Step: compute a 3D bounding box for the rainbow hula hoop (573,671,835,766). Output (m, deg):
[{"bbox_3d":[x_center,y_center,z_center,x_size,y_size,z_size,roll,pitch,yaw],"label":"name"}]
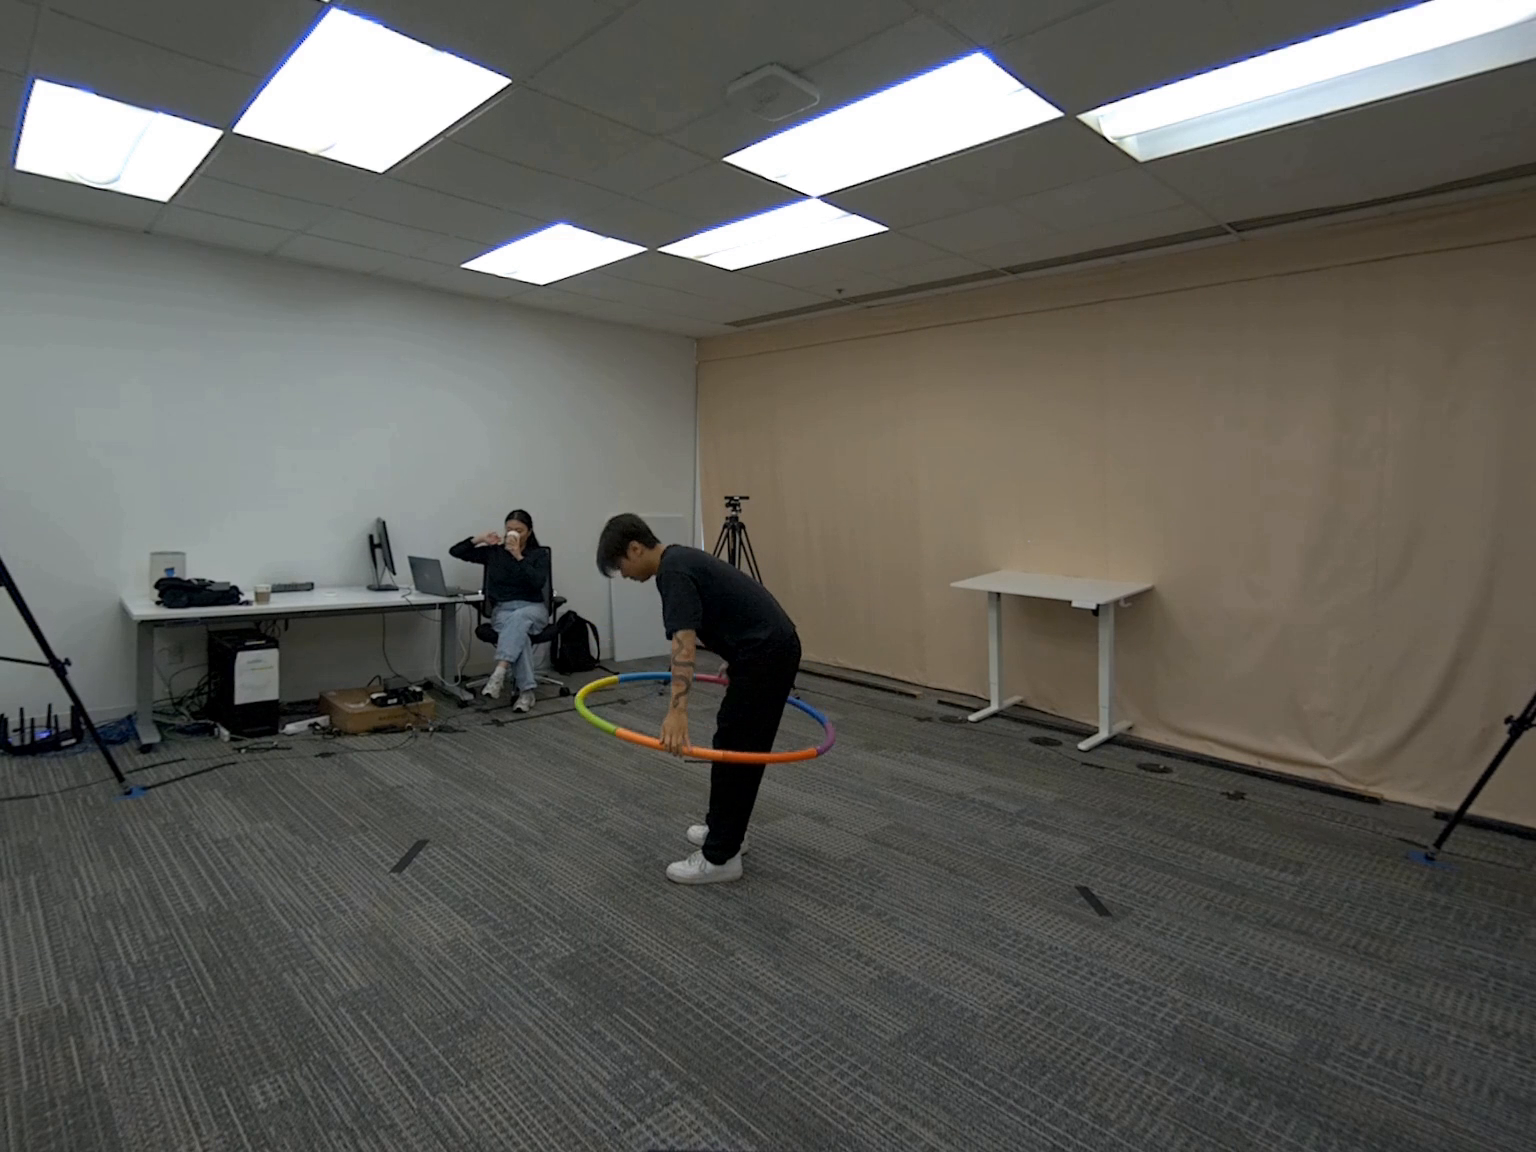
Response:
[{"bbox_3d":[-0.235,0.515,3.194,0.977,0.035,0.984,8,7,-2],"label":"rainbow hula hoop"}]
